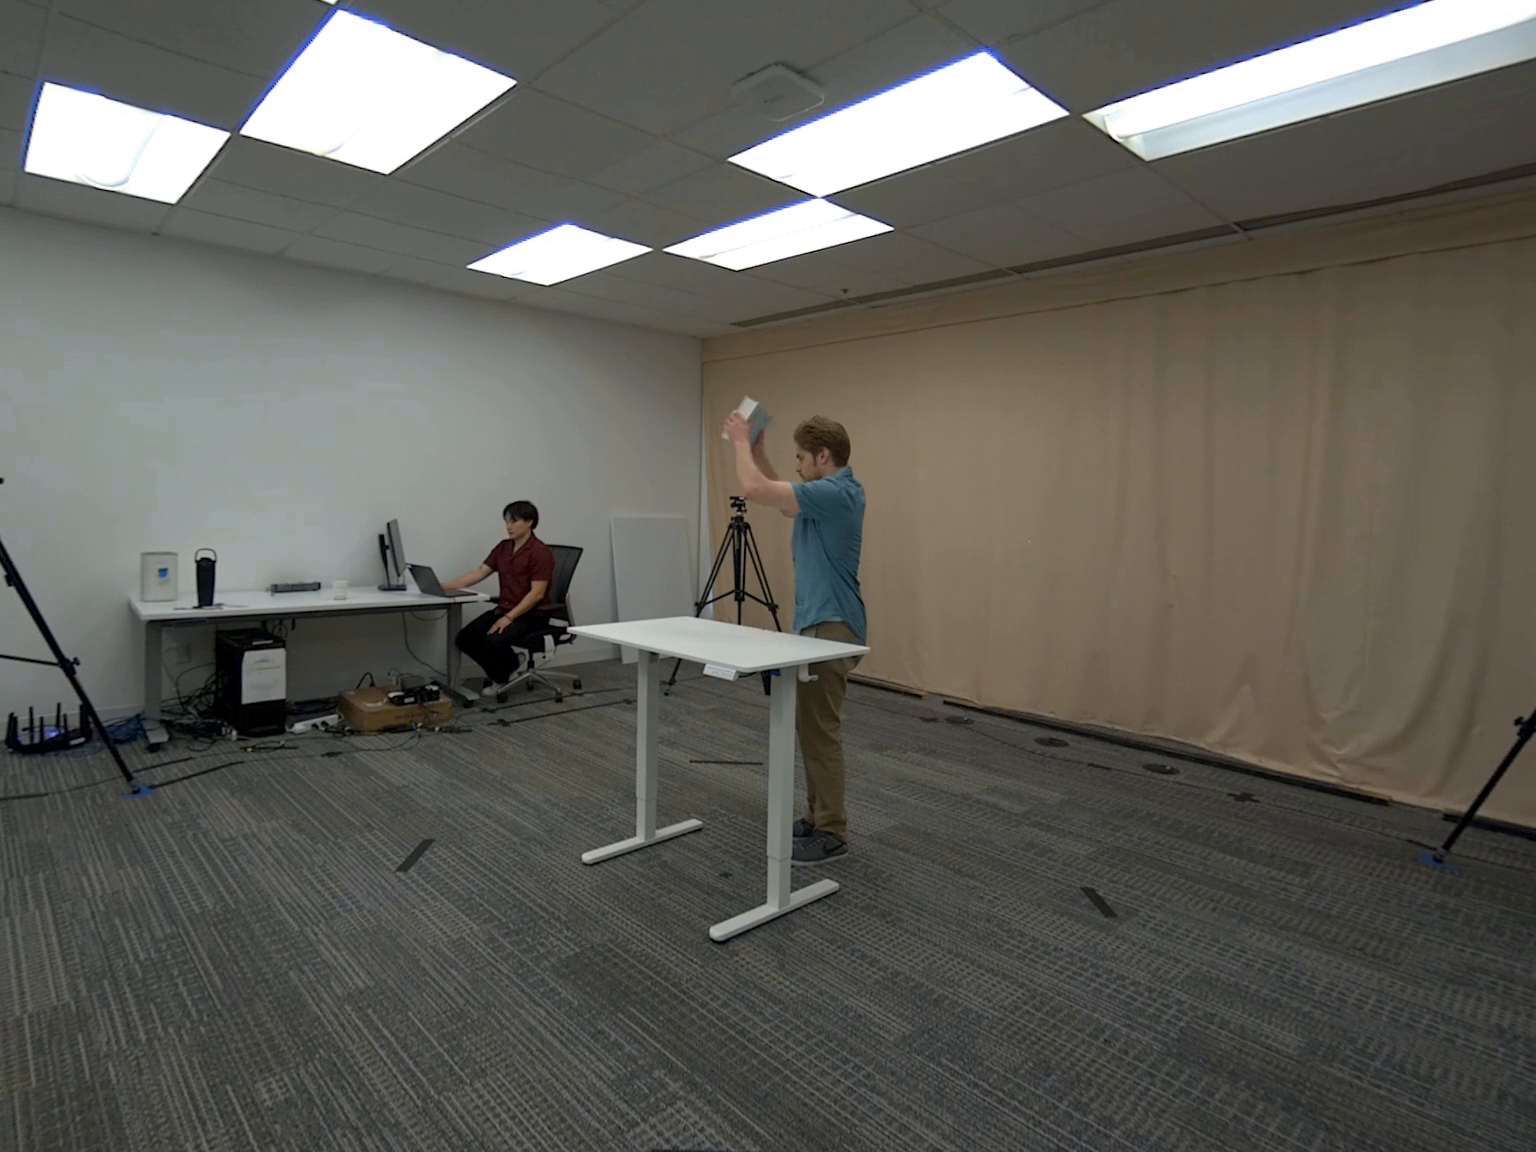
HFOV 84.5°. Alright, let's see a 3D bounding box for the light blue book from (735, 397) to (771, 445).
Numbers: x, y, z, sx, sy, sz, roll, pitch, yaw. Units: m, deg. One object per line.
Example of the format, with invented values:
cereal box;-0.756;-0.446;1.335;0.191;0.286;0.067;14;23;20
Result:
light blue book;-0.084;-0.586;3.414;0.060;0.191;0.257;32;4;12
